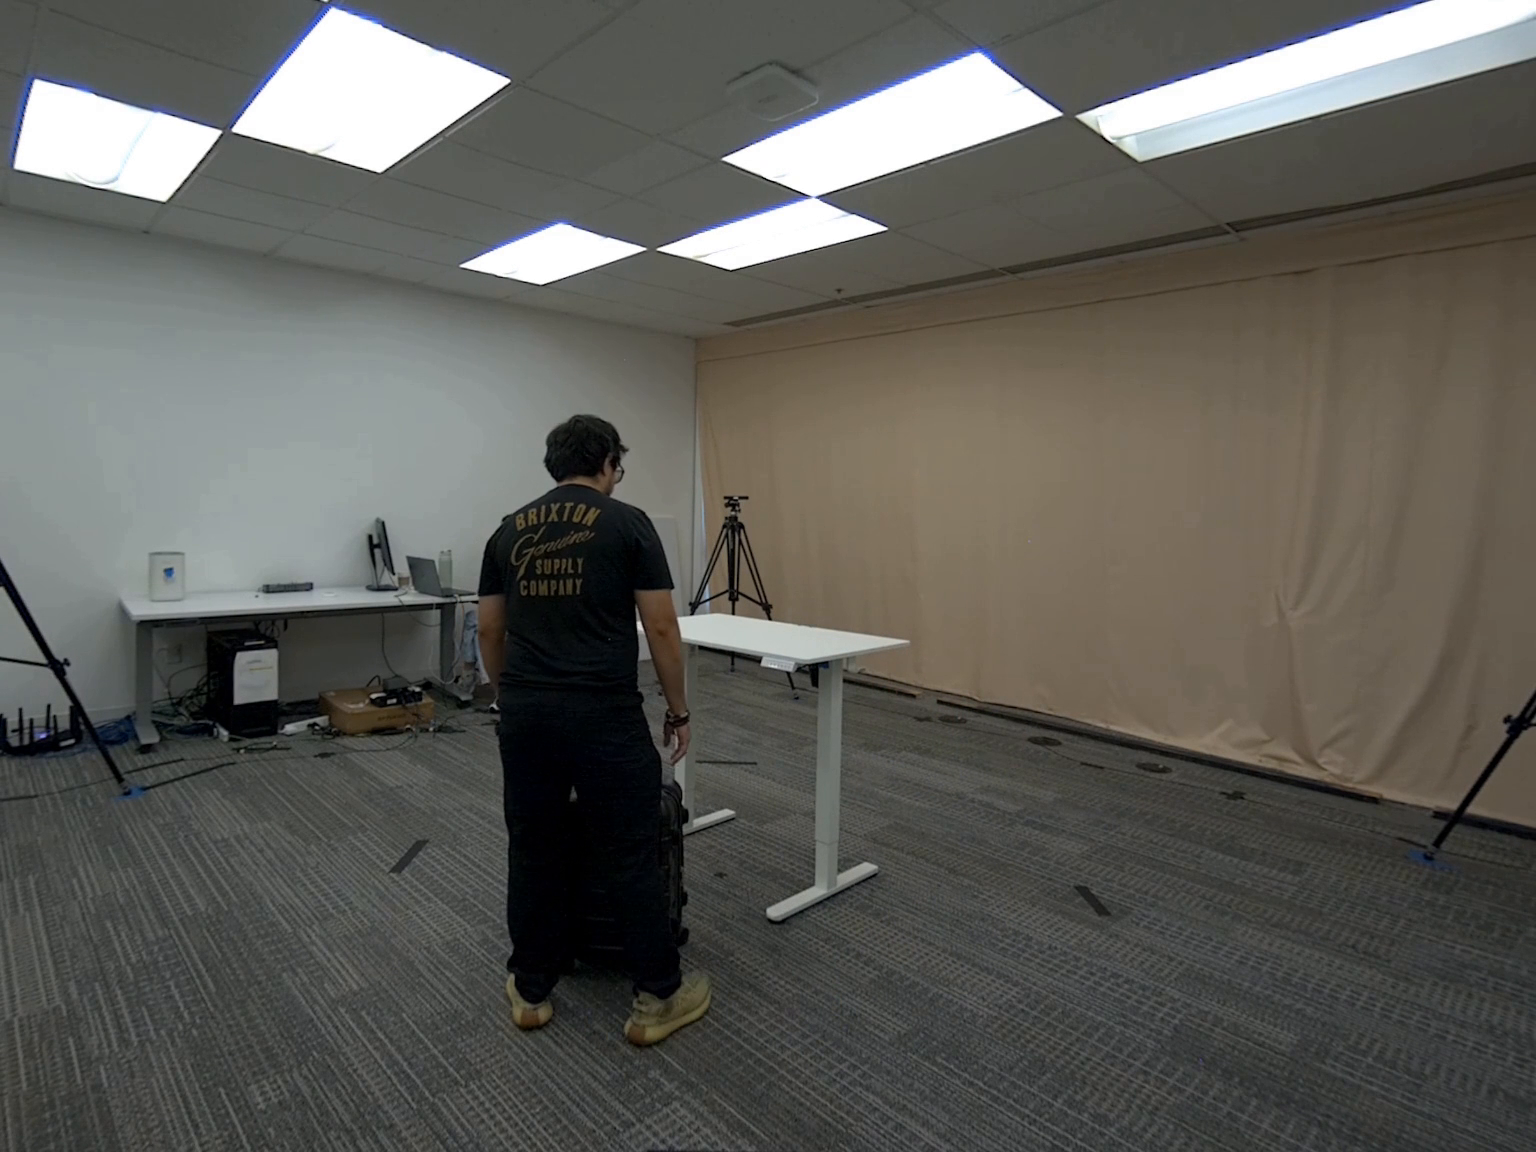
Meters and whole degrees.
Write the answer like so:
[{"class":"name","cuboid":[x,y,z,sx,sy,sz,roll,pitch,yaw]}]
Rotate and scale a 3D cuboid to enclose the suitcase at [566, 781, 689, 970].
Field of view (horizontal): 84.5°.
[{"class":"suitcase","cuboid":[-0.440,0.877,2.503,0.377,0.548,0.248,1,4,5]}]
